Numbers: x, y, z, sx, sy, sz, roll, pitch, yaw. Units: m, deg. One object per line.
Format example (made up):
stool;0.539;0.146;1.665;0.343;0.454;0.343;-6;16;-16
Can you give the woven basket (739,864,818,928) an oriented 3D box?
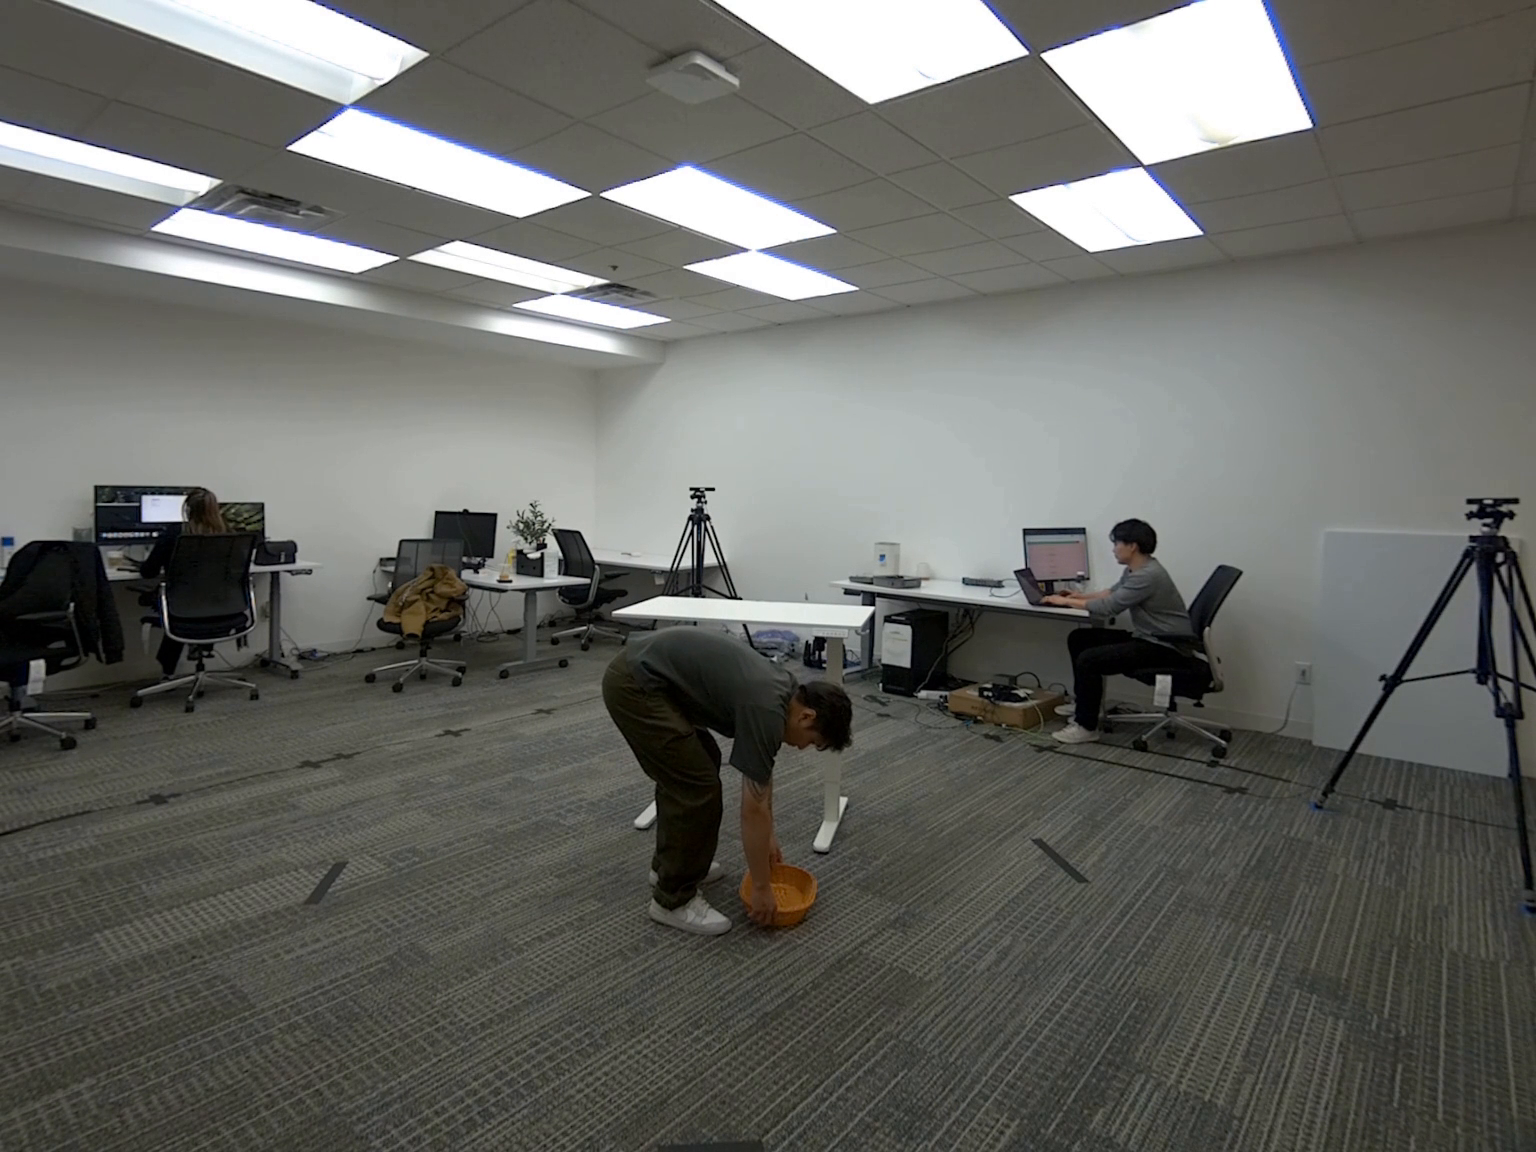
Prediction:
woven basket;0.022;1.063;2.835;0.256;0.073;0.346;2;5;13
